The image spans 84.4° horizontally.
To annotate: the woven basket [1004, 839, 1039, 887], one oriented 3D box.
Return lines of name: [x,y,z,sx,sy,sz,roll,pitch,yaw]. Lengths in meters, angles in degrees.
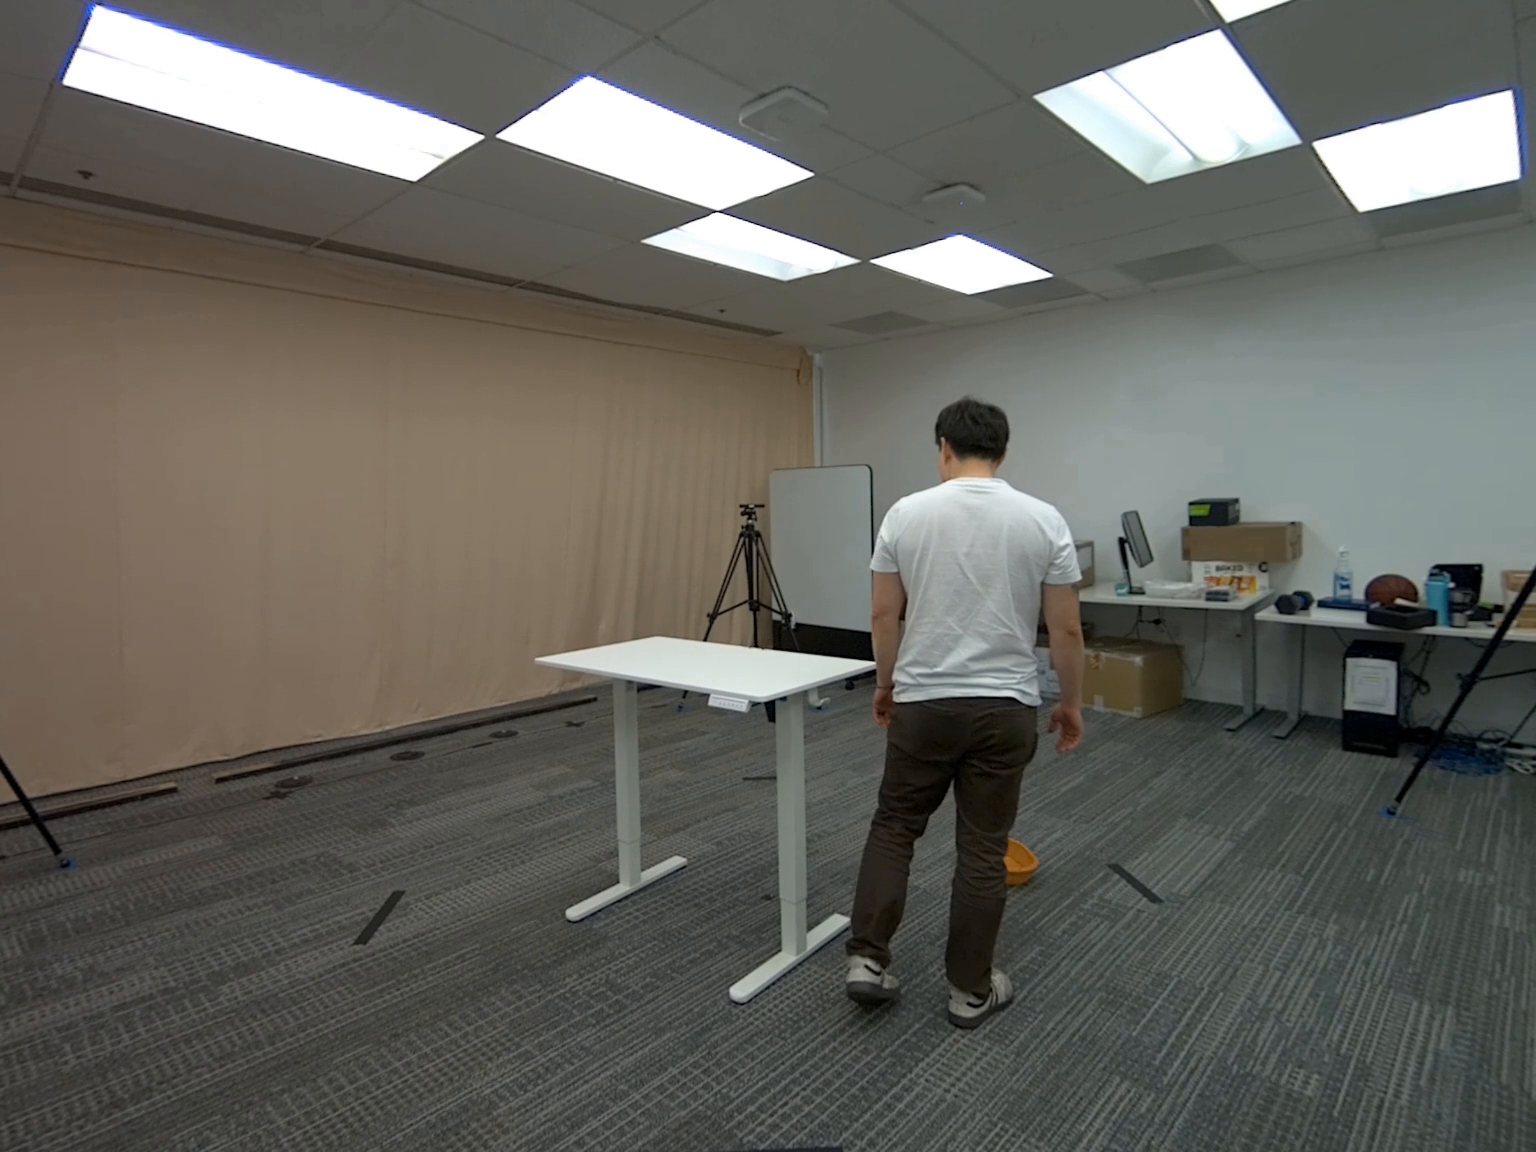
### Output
woven basket: [0.872,1.069,3.176,0.252,0.073,0.352,0,4,-3]
